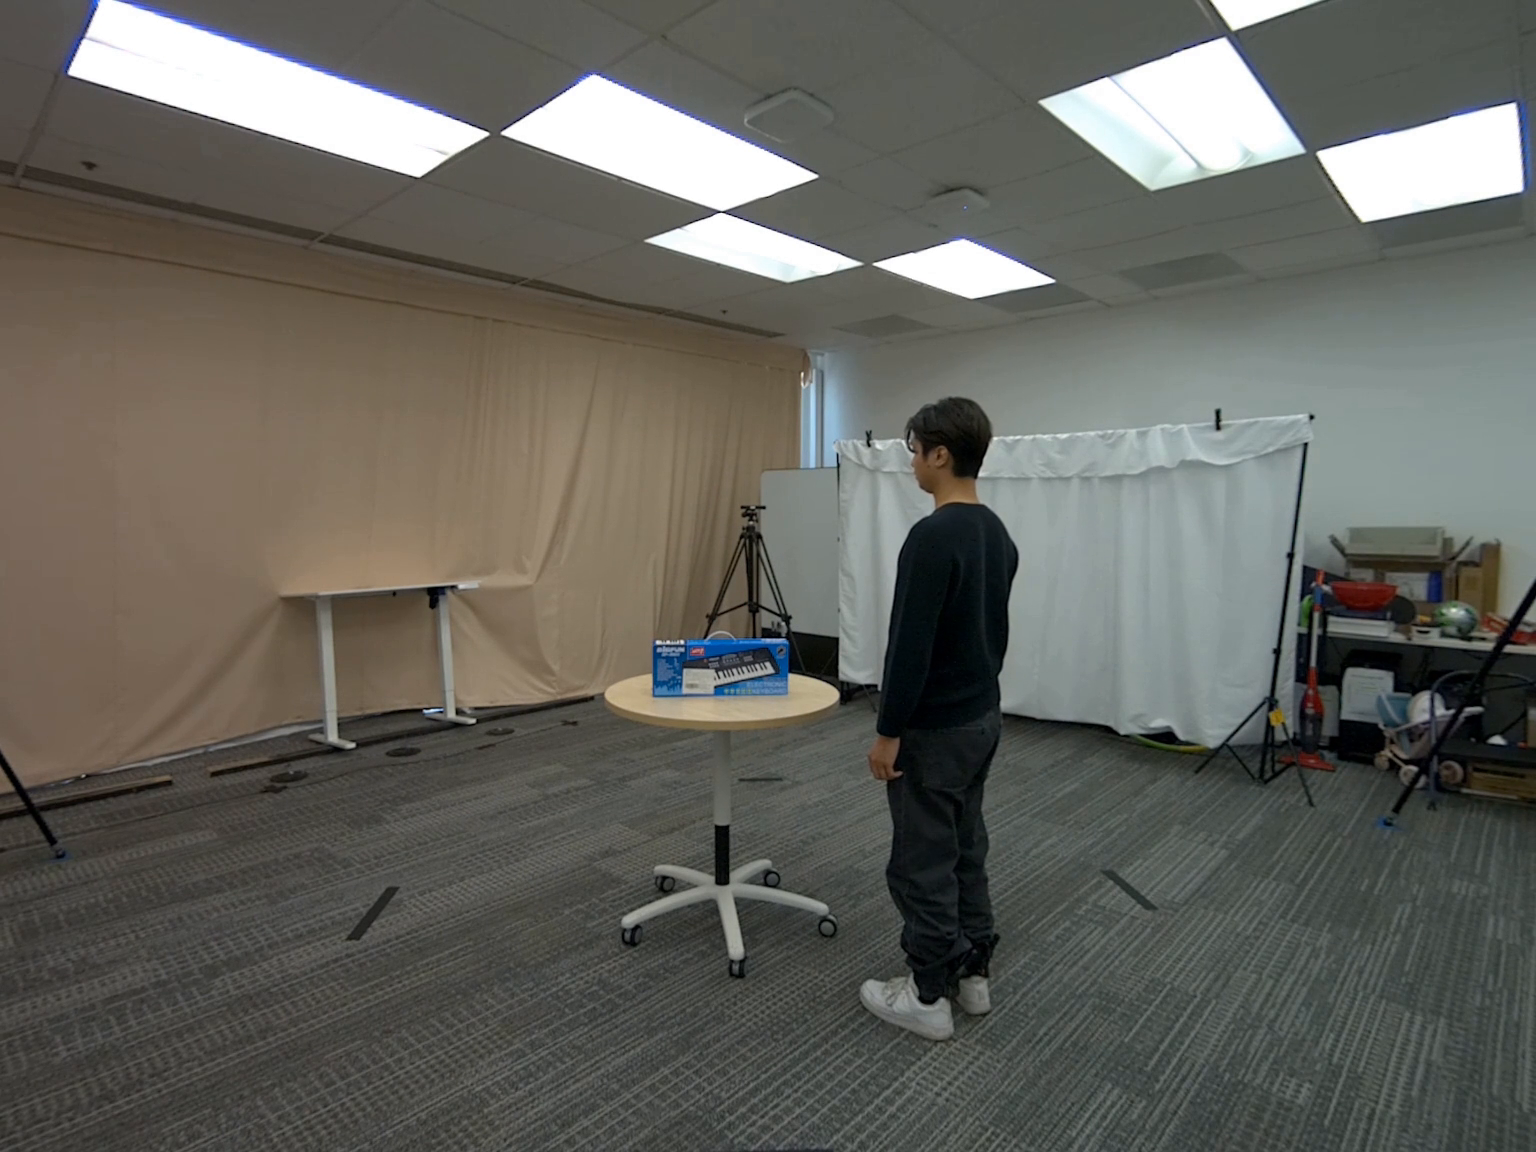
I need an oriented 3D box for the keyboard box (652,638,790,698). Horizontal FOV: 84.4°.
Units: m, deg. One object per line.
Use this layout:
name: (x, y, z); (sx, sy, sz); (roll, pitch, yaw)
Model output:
keyboard box: (-0.156, 0.296, 2.711); (0.435, 0.175, 0.059); (0, 8, -4)
